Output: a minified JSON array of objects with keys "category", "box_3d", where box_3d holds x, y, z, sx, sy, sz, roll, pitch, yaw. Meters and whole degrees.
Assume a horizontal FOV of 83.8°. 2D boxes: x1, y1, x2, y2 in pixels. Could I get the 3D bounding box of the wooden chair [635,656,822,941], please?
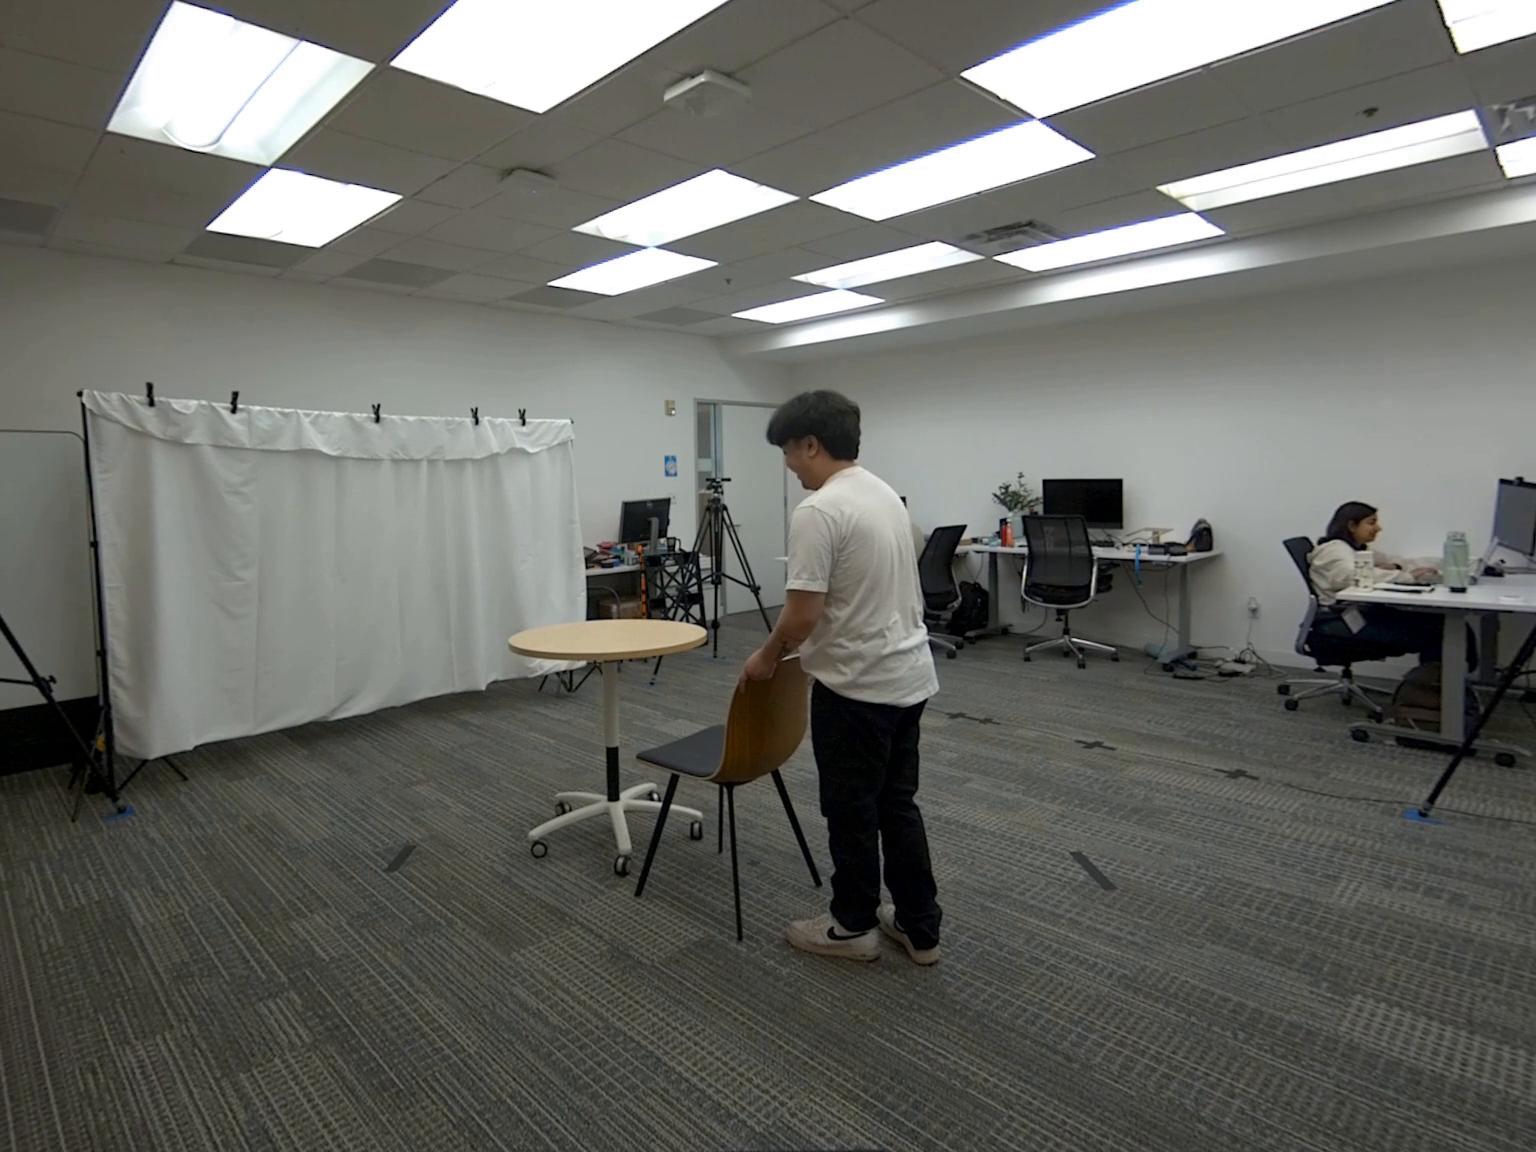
[{"category":"wooden chair","box_3d":[-0.139,0.642,2.865,0.540,0.872,0.466,9,10,38]}]
